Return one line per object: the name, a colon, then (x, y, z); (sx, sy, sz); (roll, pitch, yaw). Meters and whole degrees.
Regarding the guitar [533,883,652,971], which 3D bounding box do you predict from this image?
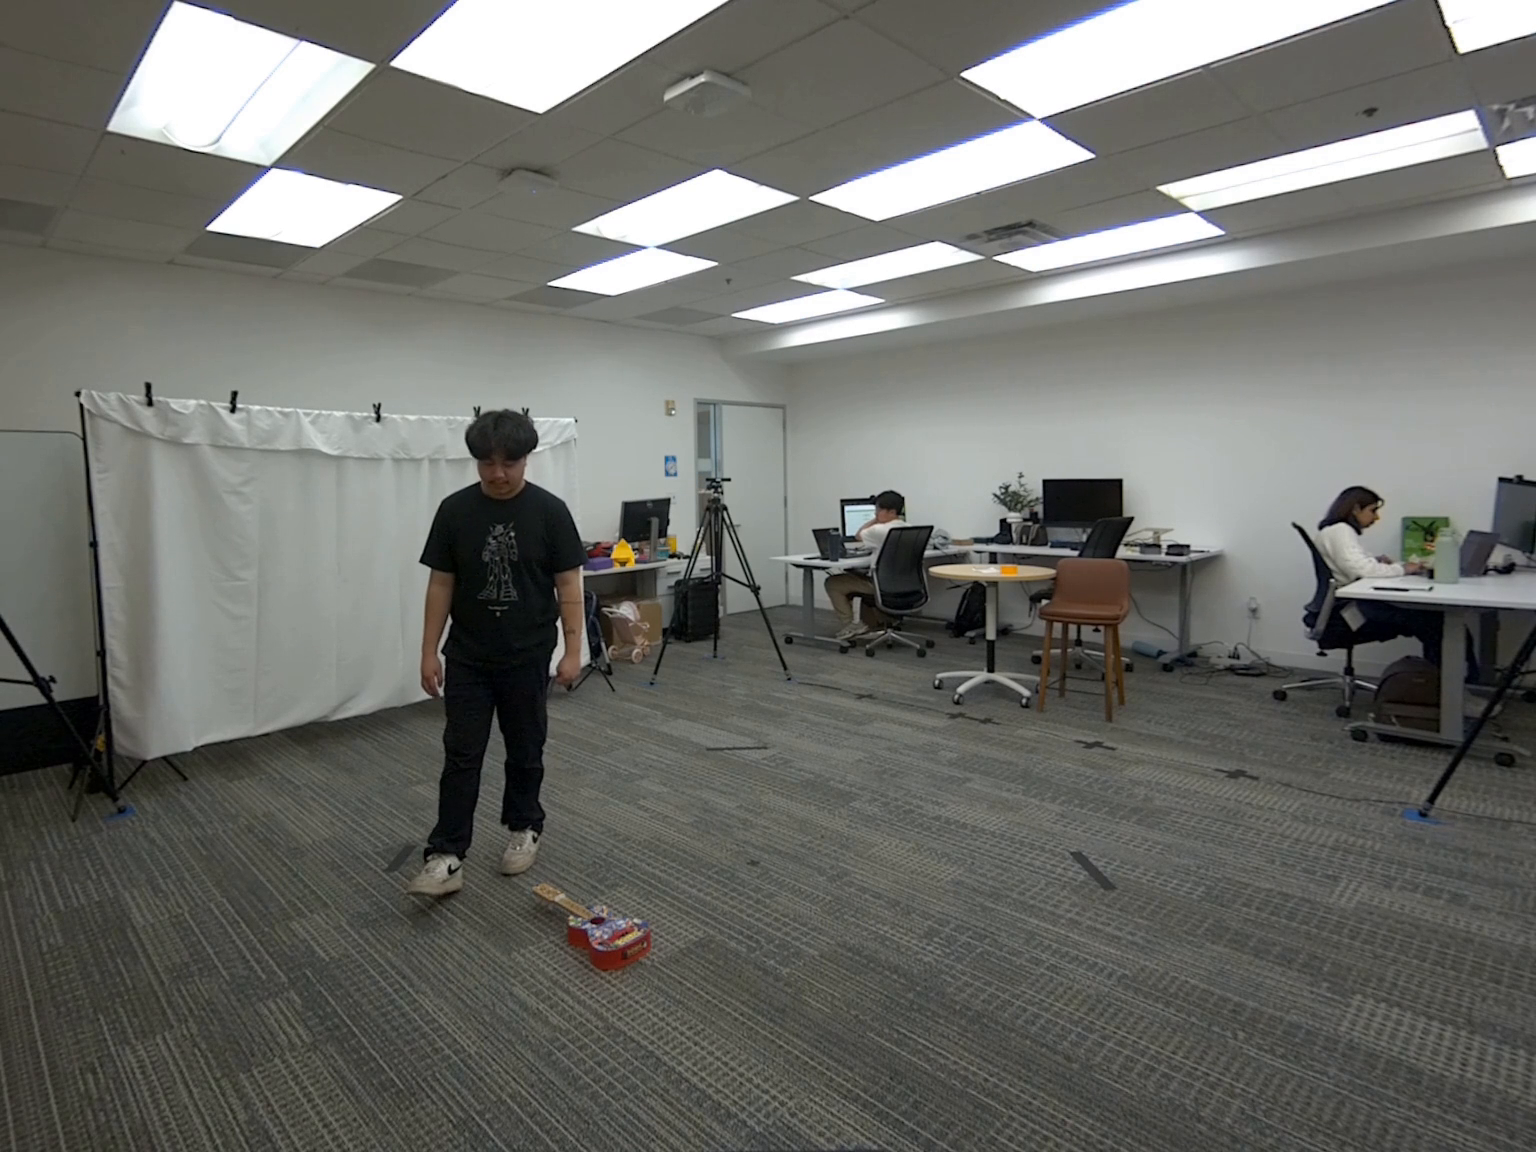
guitar: (-0.550, 1.070, 2.671); (0.188, 0.070, 0.513); (-7, 10, -38)
